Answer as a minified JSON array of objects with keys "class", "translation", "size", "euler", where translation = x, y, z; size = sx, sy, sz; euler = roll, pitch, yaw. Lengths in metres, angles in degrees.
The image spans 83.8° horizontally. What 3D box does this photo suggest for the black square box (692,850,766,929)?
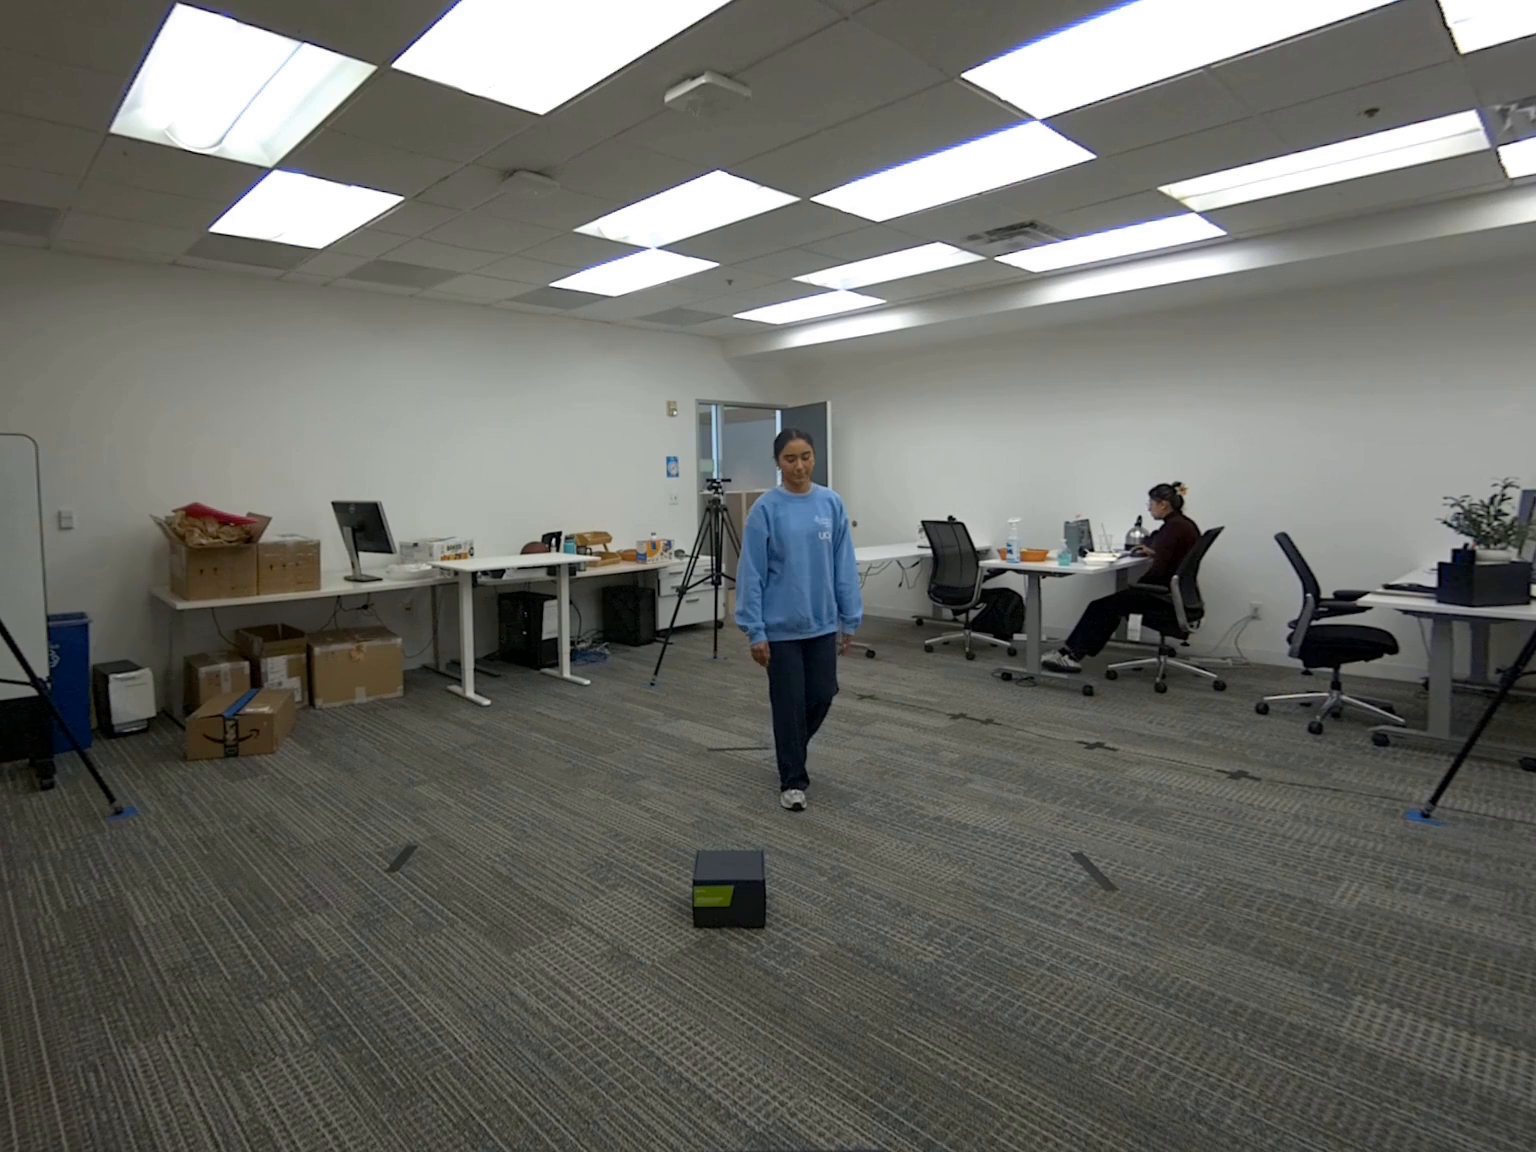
[{"class":"black square box","translation":[-0.121,1.001,2.754],"size":[0.228,0.155,0.218],"euler":[-1,6,0]}]
